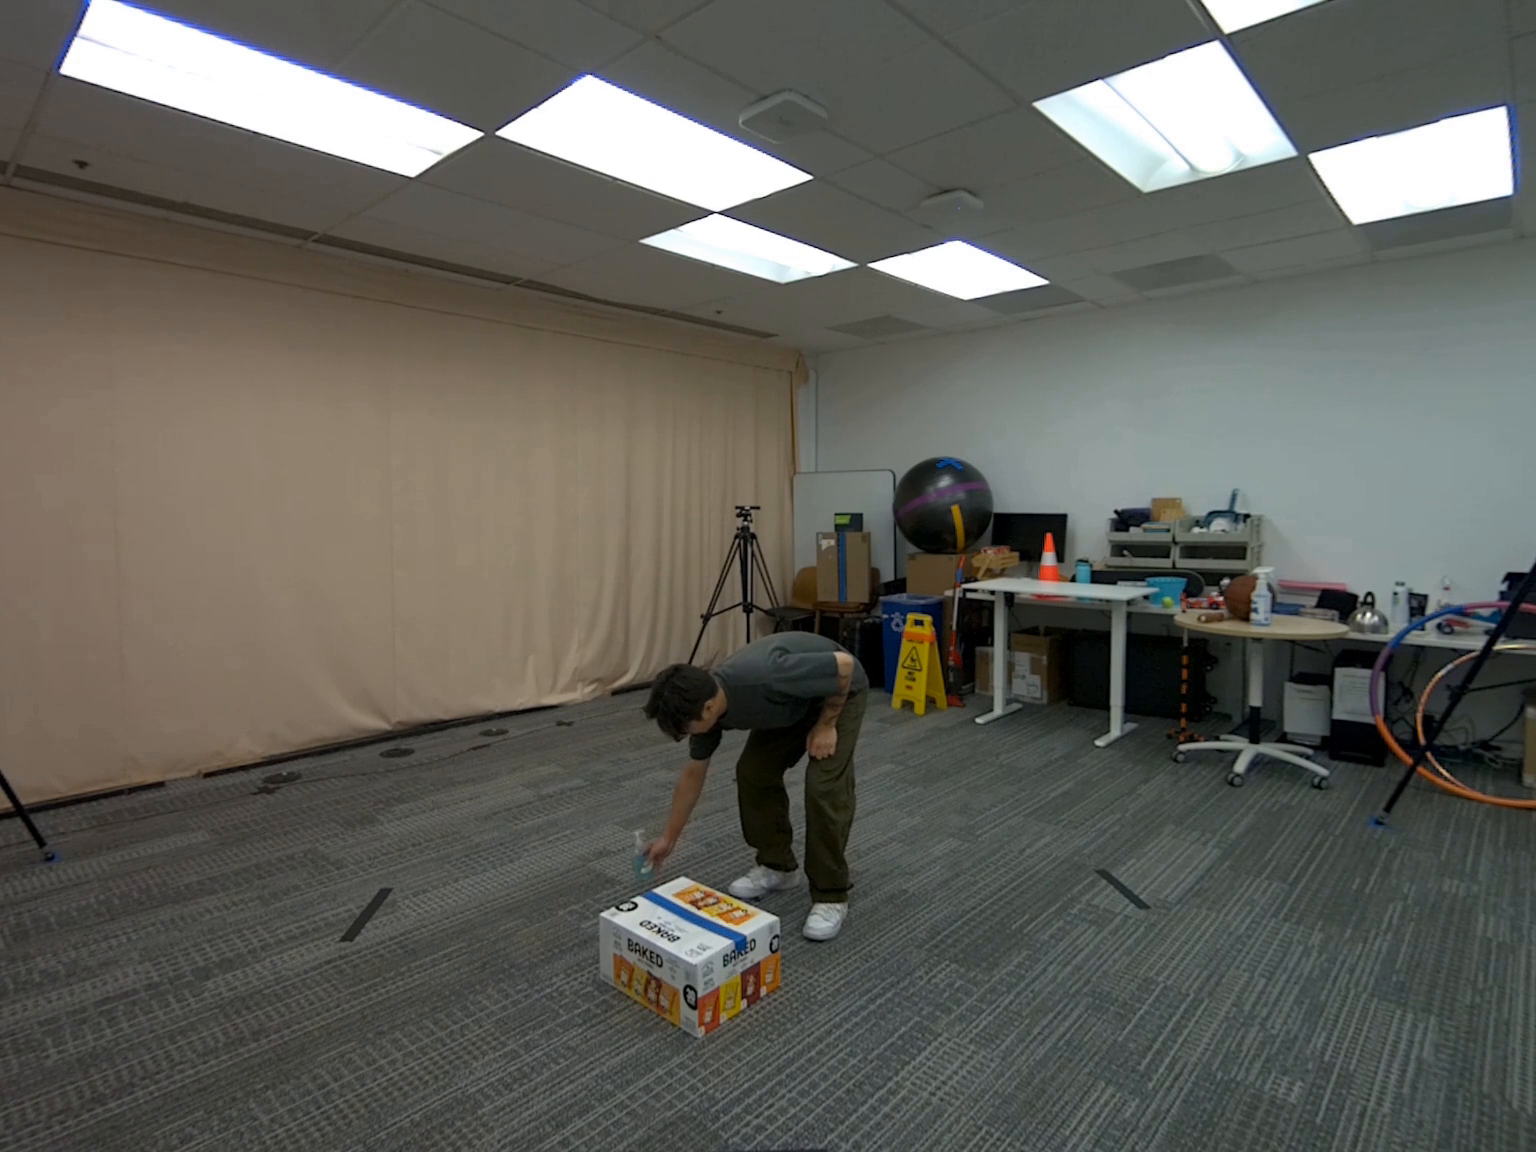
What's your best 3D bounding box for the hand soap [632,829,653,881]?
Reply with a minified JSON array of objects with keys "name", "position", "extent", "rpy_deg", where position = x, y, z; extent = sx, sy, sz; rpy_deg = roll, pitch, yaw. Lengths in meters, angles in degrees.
[{"name":"hand soap","position":[-0.447,1.004,3.013],"extent":[0.082,0.168,0.044],"rpy_deg":[-12,3,-35]}]
